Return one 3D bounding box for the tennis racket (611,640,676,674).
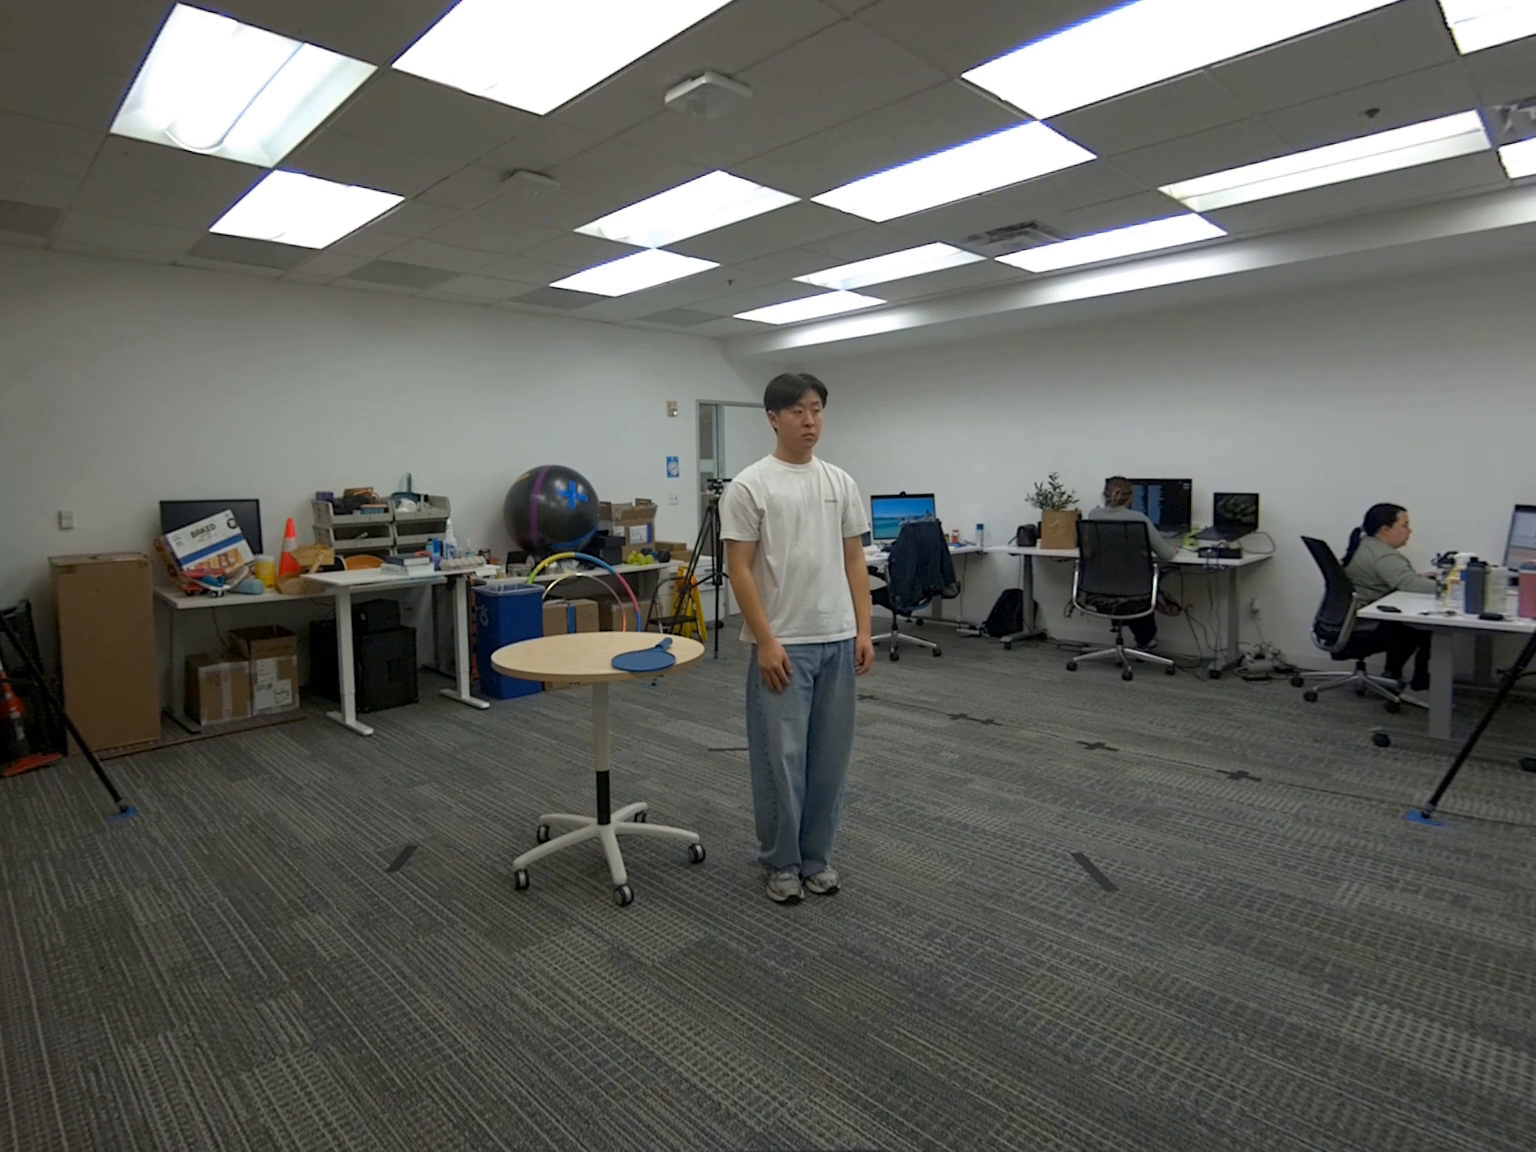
[{"bbox_3d":[-0.400,0.273,2.974,0.215,0.031,0.432,2,9,7],"label":"tennis racket"}]
